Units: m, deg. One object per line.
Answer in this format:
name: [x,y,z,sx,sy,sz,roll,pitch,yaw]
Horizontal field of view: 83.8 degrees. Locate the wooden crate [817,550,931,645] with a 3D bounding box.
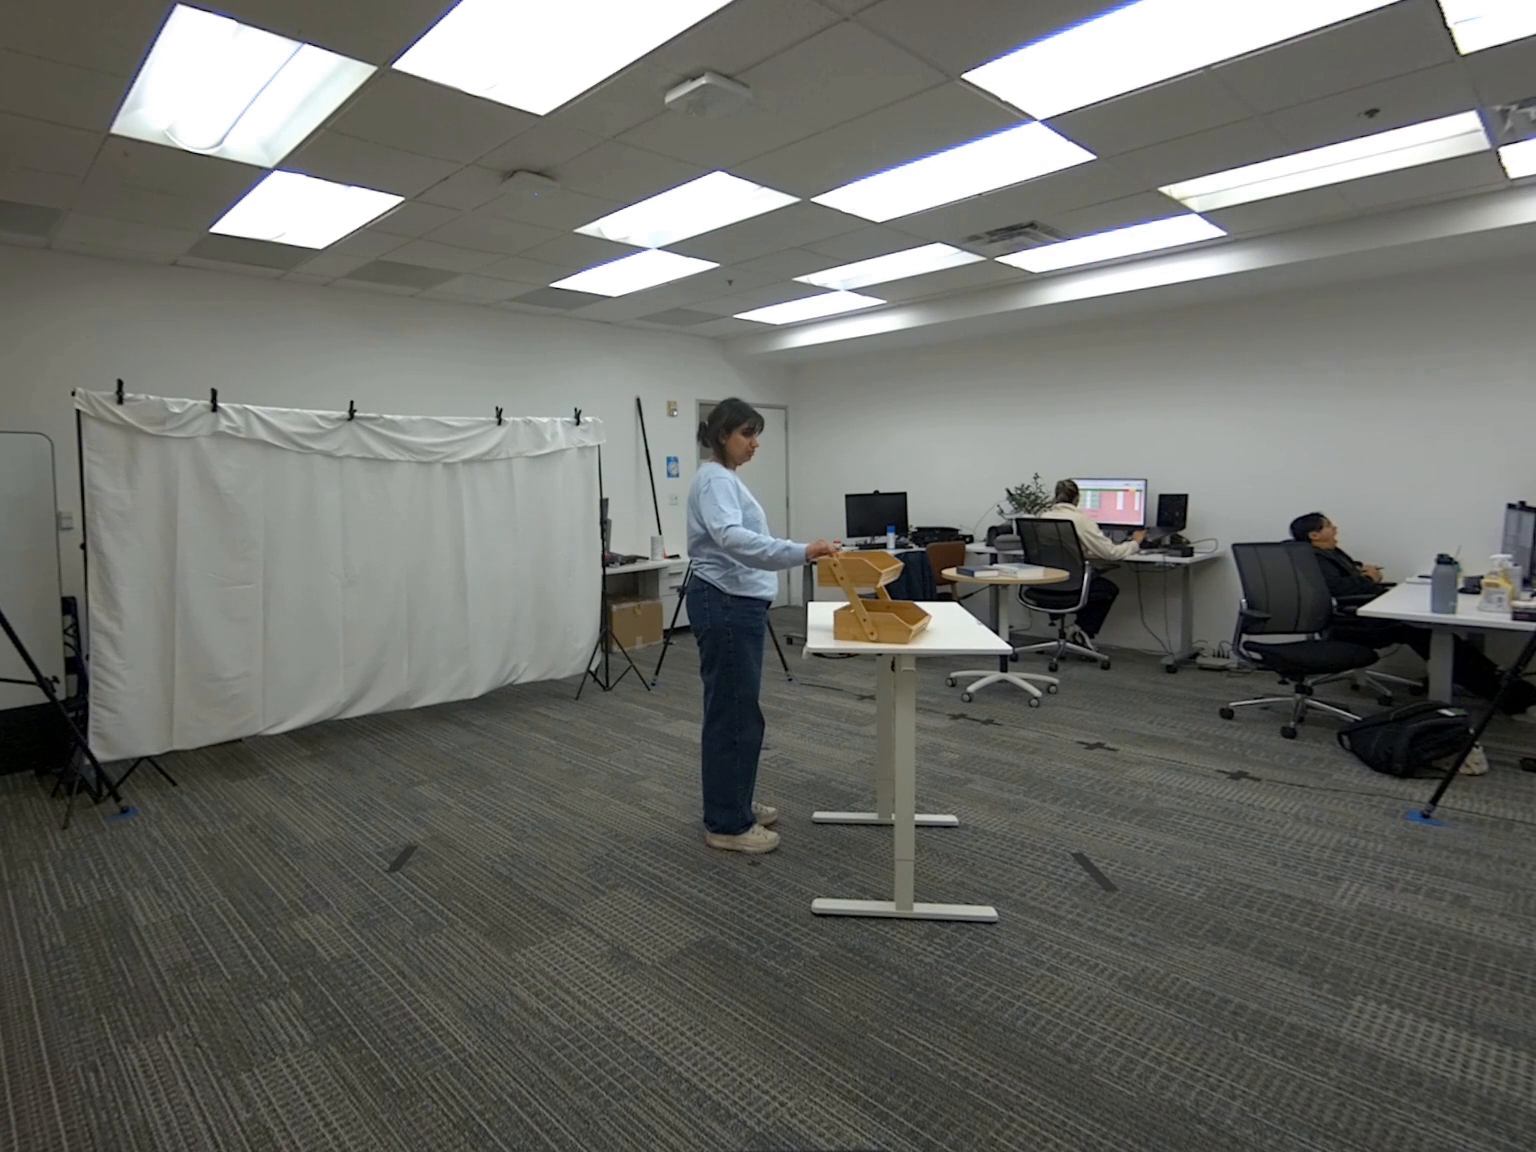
wooden crate: [0.362,0.057,2.782,0.308,0.272,0.319,0,4,22]
